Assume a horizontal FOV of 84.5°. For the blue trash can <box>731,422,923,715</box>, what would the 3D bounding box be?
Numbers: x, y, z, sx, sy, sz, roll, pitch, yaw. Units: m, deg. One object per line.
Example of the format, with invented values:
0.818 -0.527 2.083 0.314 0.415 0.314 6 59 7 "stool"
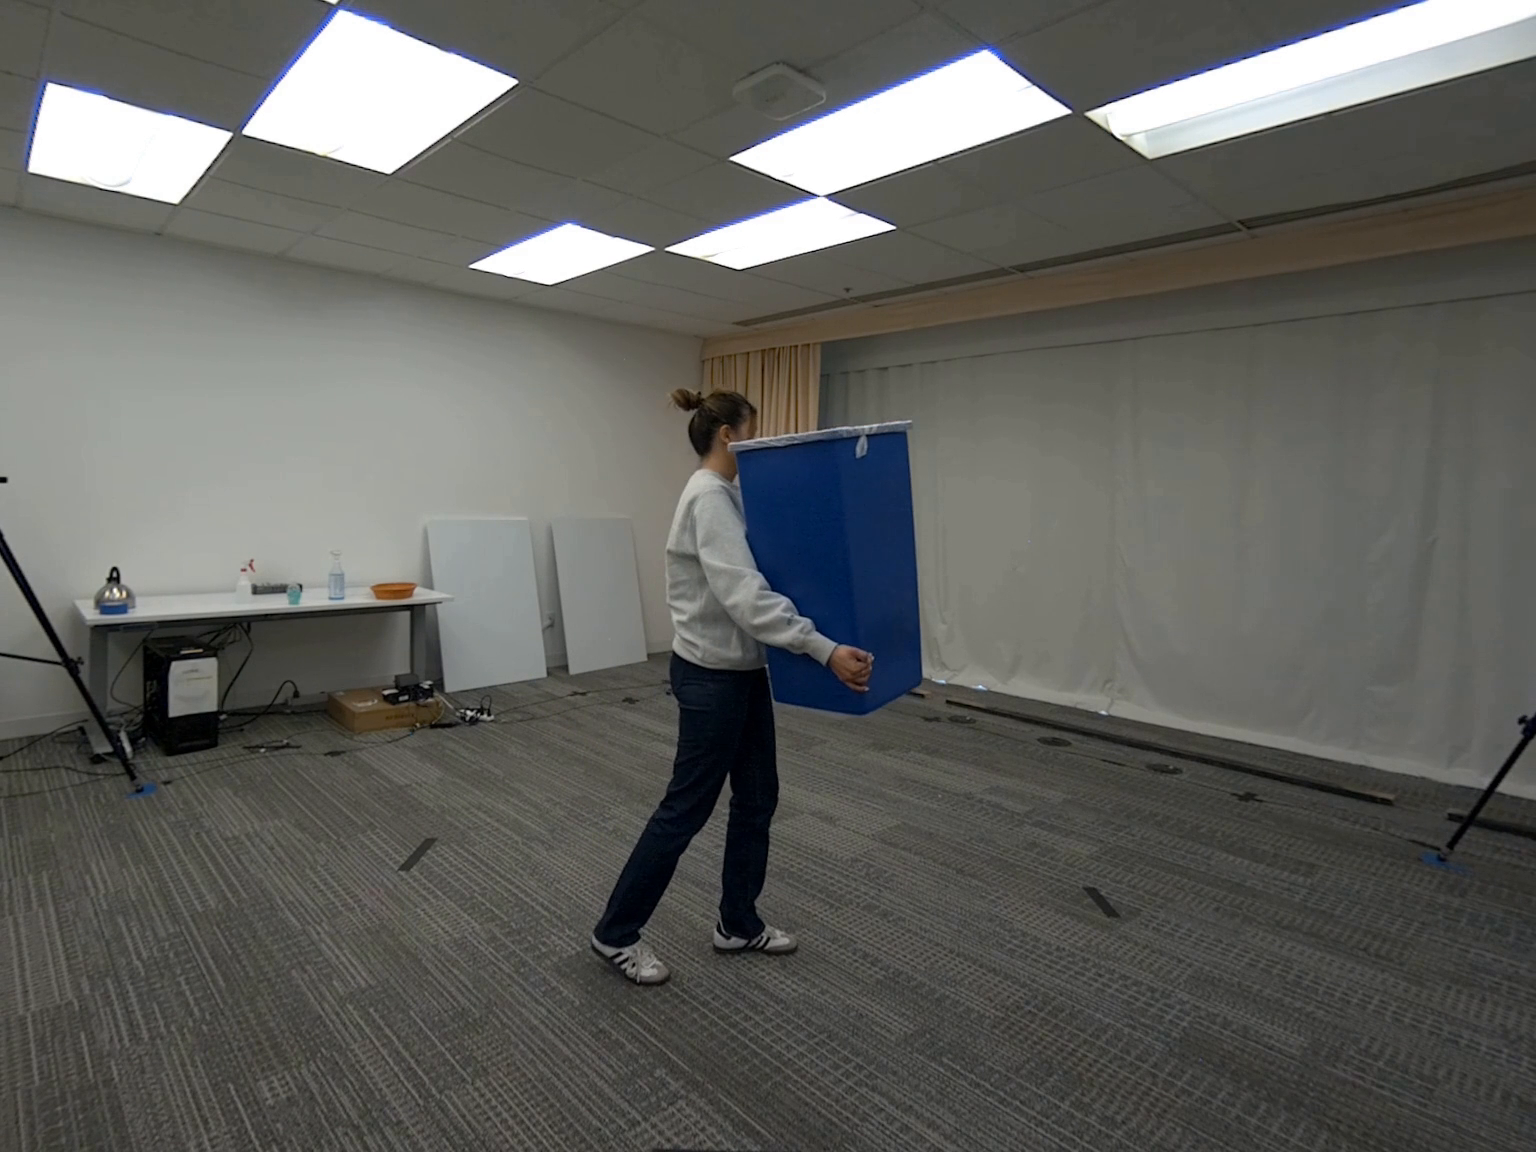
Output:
0.167 -0.034 2.258 0.383 0.710 0.371 -1 7 41 "blue trash can"
